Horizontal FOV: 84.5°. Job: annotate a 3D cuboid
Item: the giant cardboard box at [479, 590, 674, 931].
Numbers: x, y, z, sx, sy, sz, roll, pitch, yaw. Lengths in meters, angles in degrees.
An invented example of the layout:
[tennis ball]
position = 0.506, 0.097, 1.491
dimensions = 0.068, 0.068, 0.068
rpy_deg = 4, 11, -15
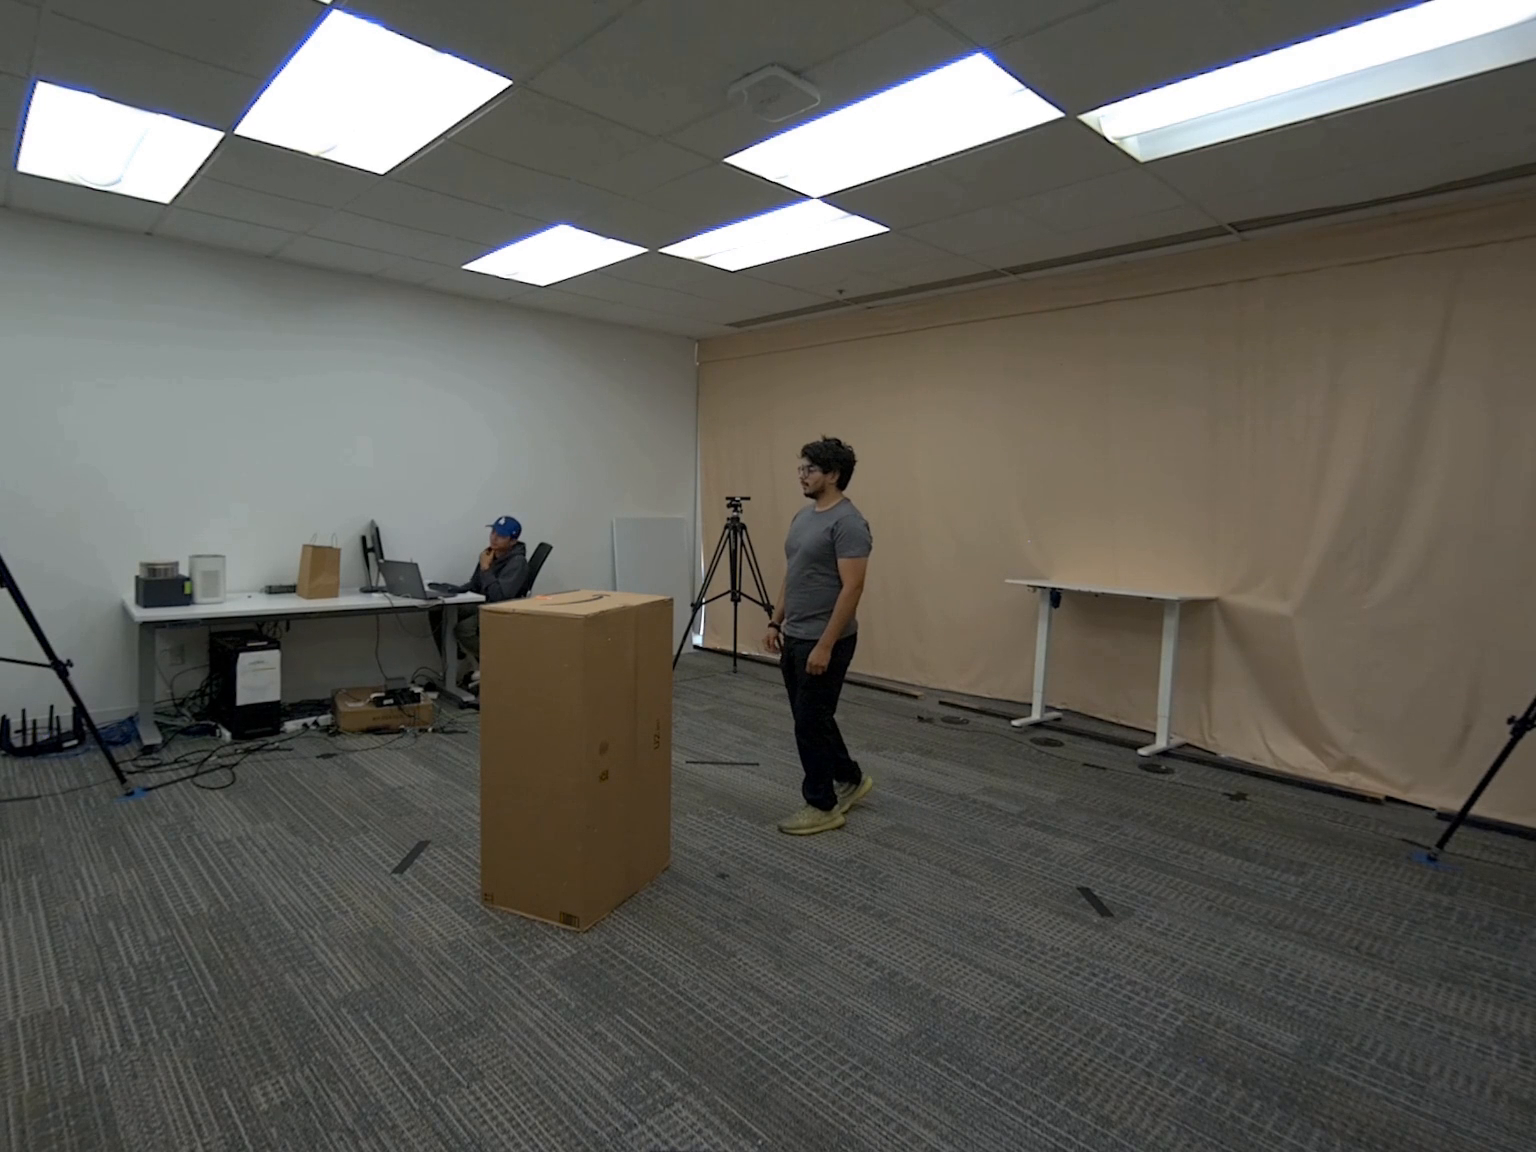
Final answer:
[giant cardboard box]
position = -0.670, 0.597, 2.985
dimensions = 0.434, 1.023, 0.568
rpy_deg = 3, 4, 25
